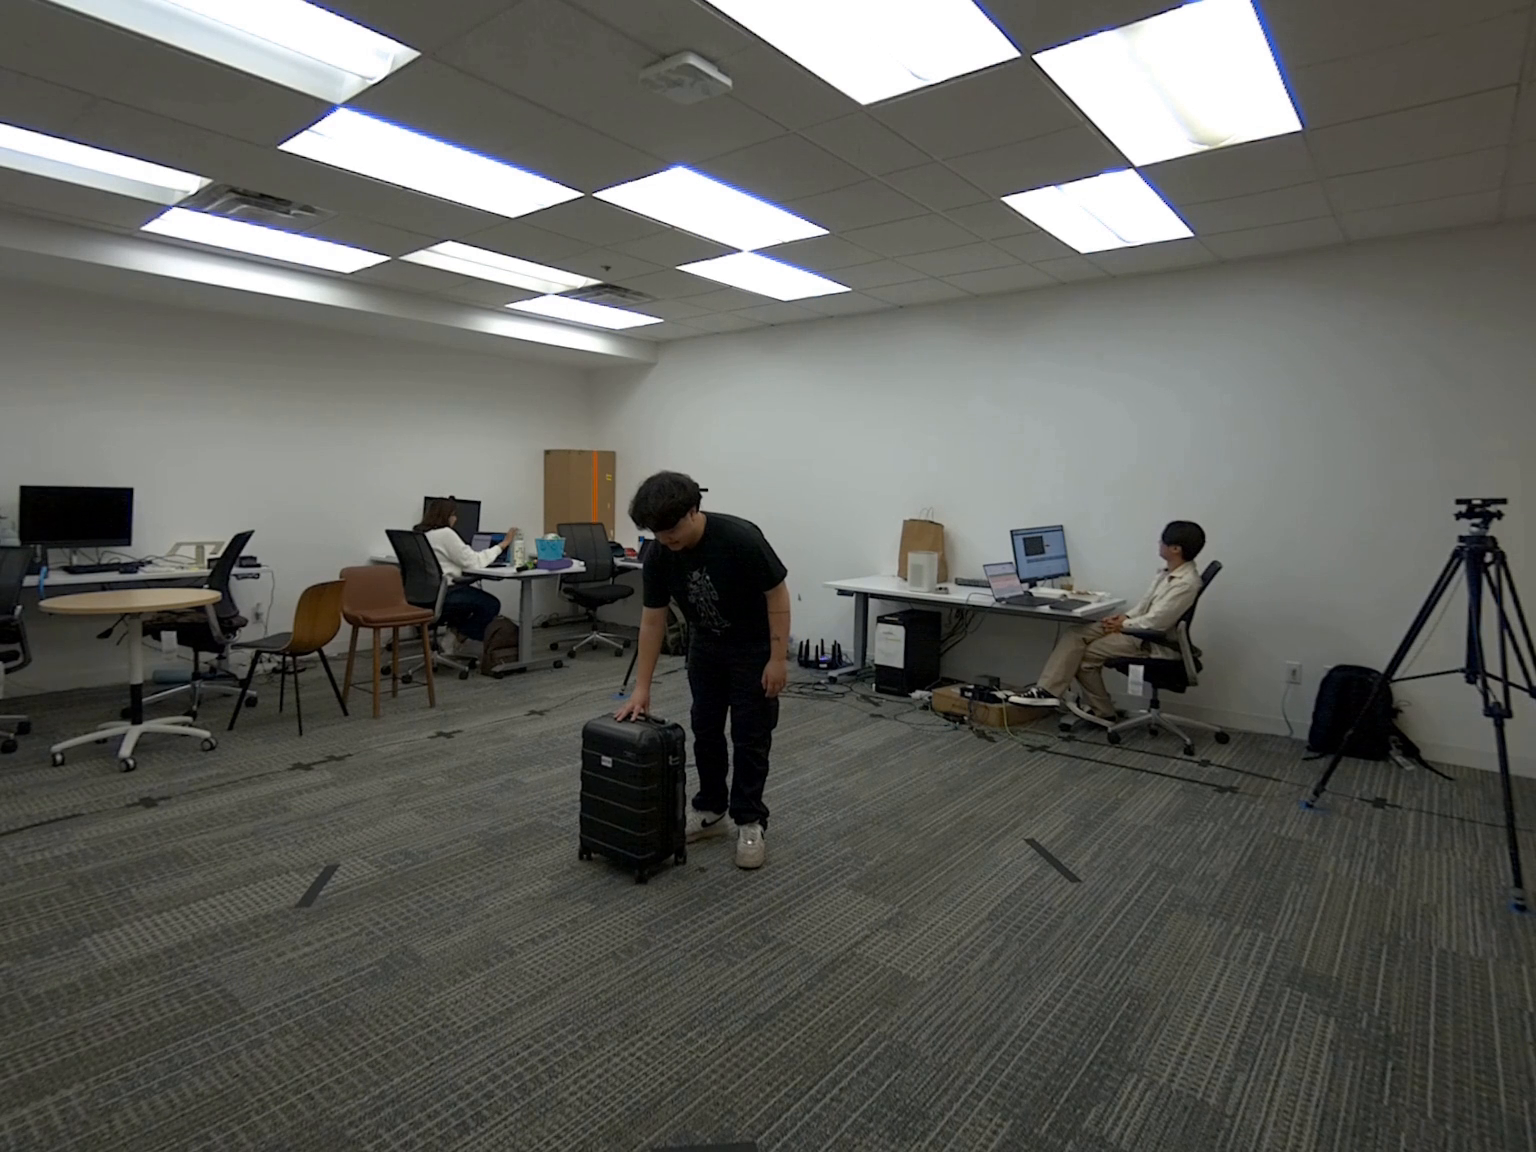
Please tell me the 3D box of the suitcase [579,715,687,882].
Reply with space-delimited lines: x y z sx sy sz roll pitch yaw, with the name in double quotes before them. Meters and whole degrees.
"suitcase" -0.509 0.786 3.132 0.388 0.547 0.241 5 6 37
